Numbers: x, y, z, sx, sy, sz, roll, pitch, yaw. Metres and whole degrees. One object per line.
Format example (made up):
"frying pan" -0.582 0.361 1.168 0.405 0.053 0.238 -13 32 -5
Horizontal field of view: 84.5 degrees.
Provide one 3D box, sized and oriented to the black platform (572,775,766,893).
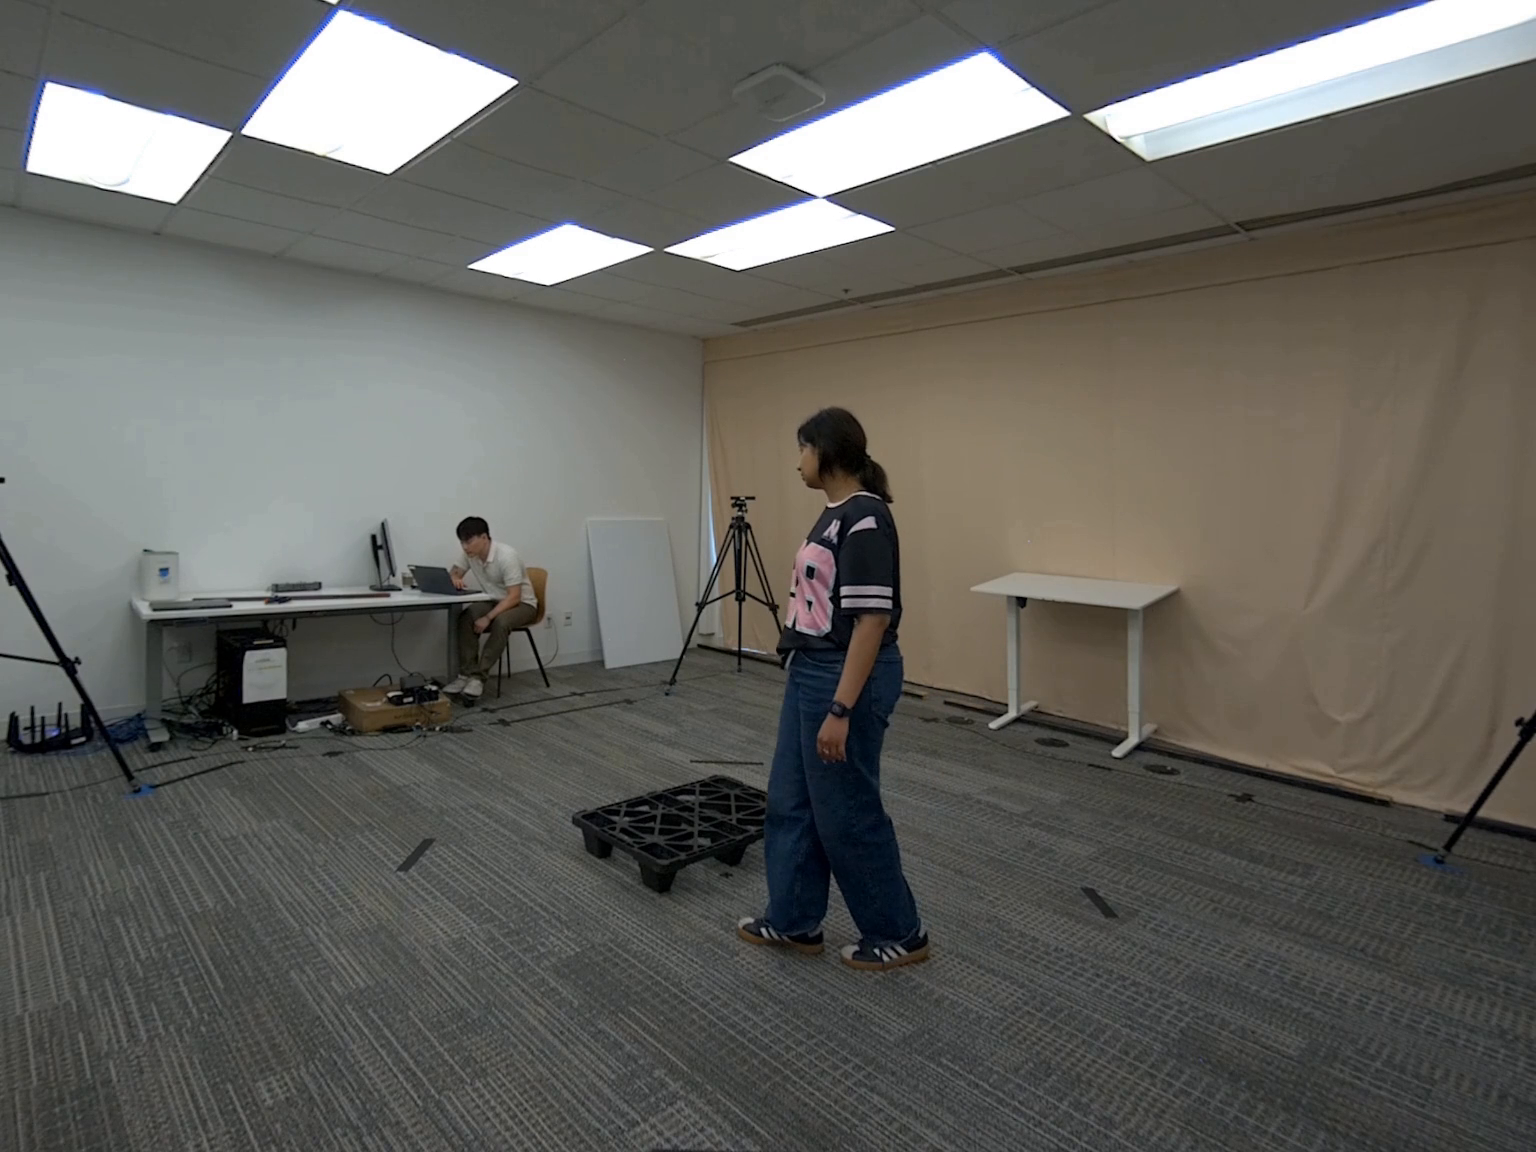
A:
"black platform" -0.297 1.011 3.360 0.787 0.143 0.620 -3 6 -44
